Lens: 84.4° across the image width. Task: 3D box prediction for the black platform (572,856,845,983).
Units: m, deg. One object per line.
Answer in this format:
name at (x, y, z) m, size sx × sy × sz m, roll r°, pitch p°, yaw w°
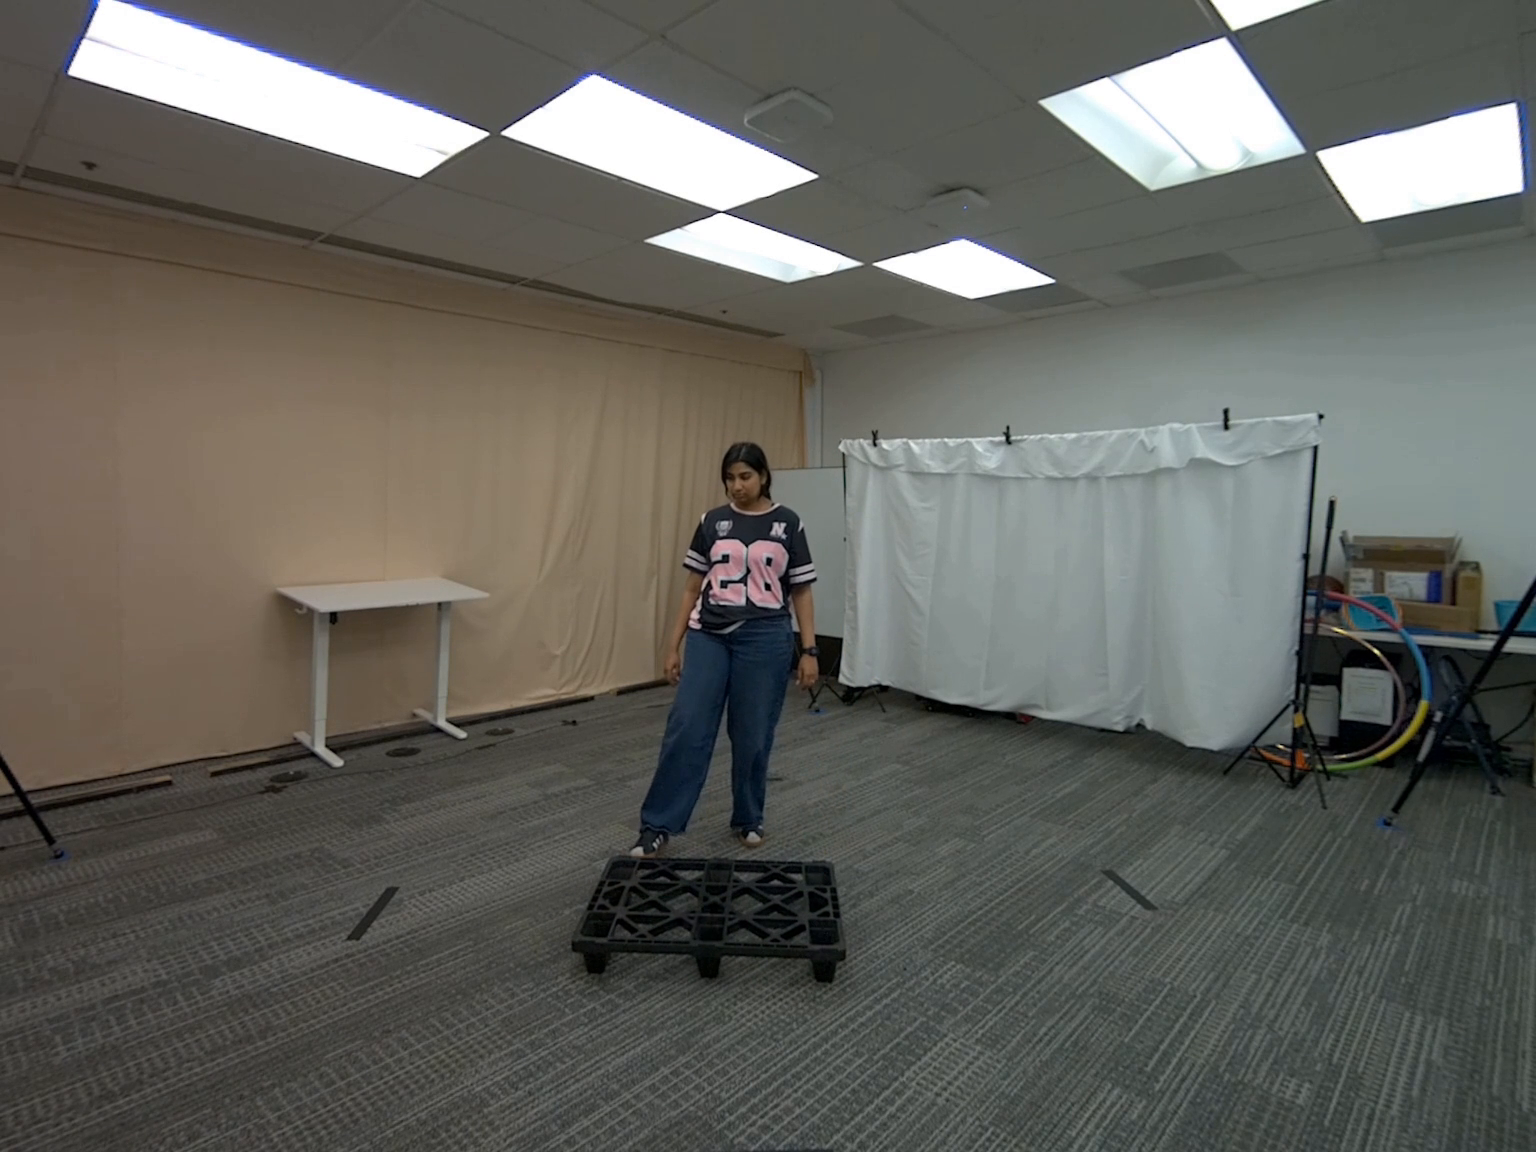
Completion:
black platform at (-0.170, 1.093, 2.719) m, size 0.809 × 0.143 × 0.604 m, roll 1°, pitch 4°, yaw 3°
